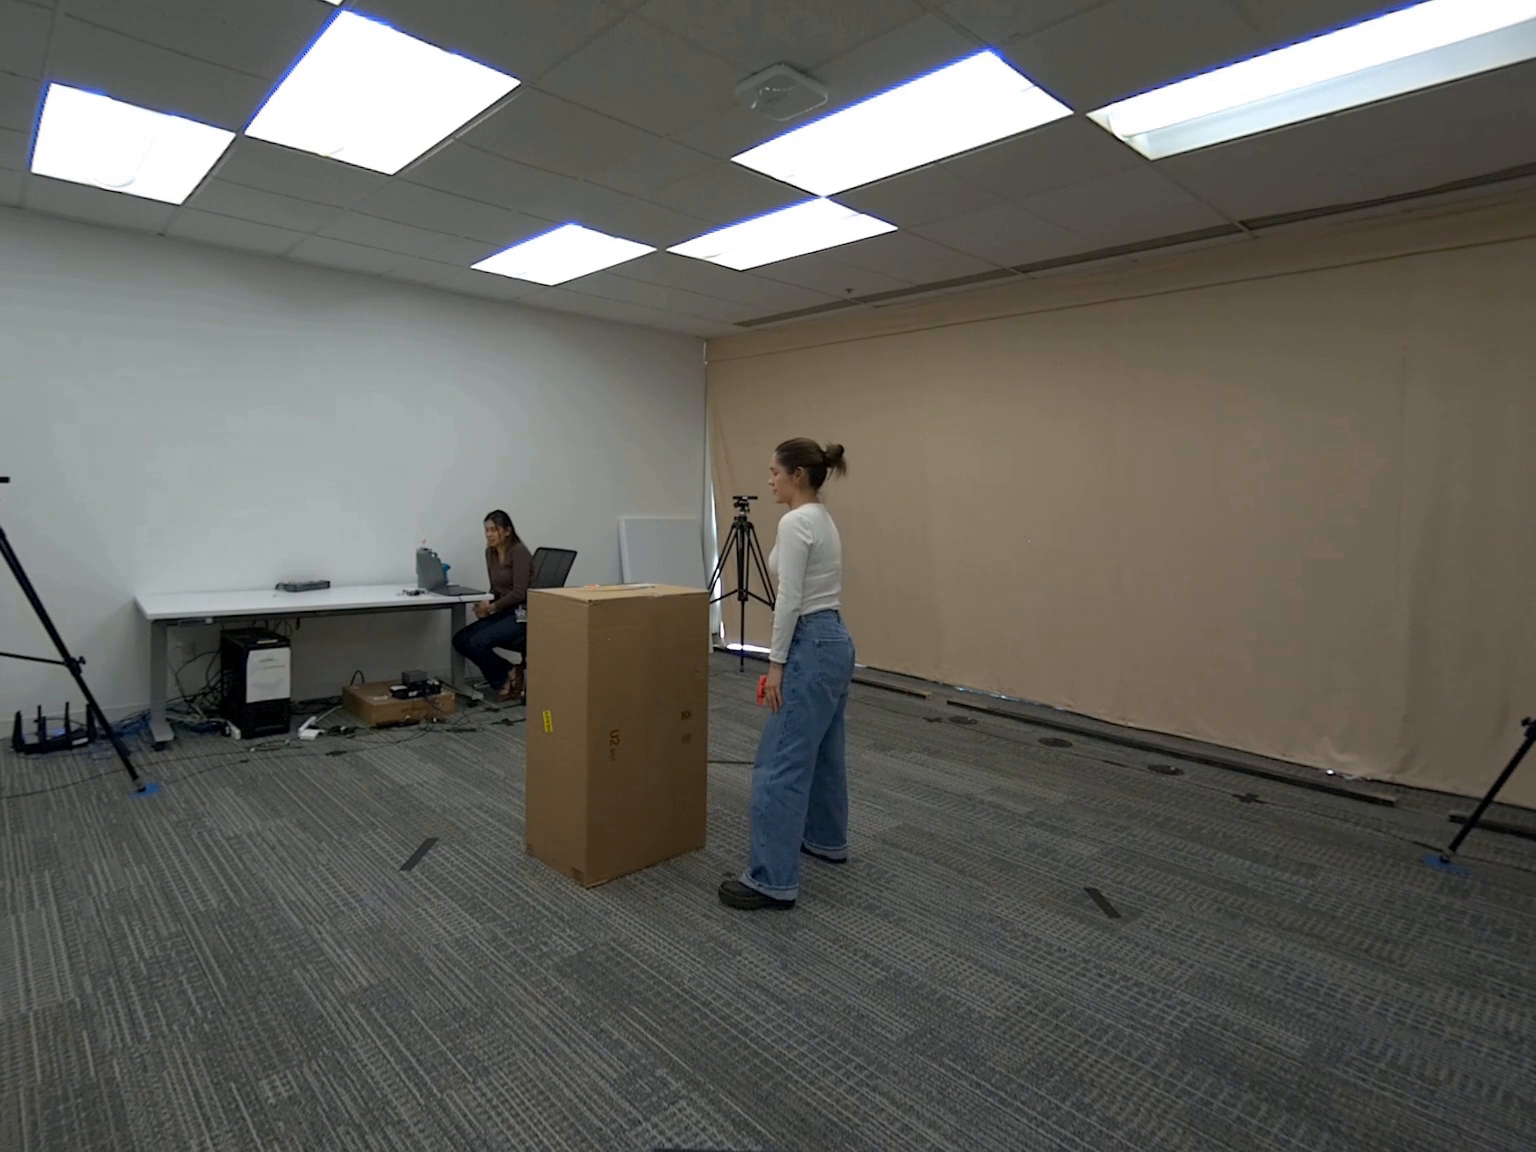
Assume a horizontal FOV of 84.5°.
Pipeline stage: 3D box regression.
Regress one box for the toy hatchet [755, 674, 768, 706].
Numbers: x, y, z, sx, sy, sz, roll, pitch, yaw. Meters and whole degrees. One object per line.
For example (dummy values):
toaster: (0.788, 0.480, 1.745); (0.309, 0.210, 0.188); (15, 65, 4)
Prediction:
toy hatchet: (0.001, 0.410, 3.419); (0.029, 0.268, 0.134); (16, 42, -19)
